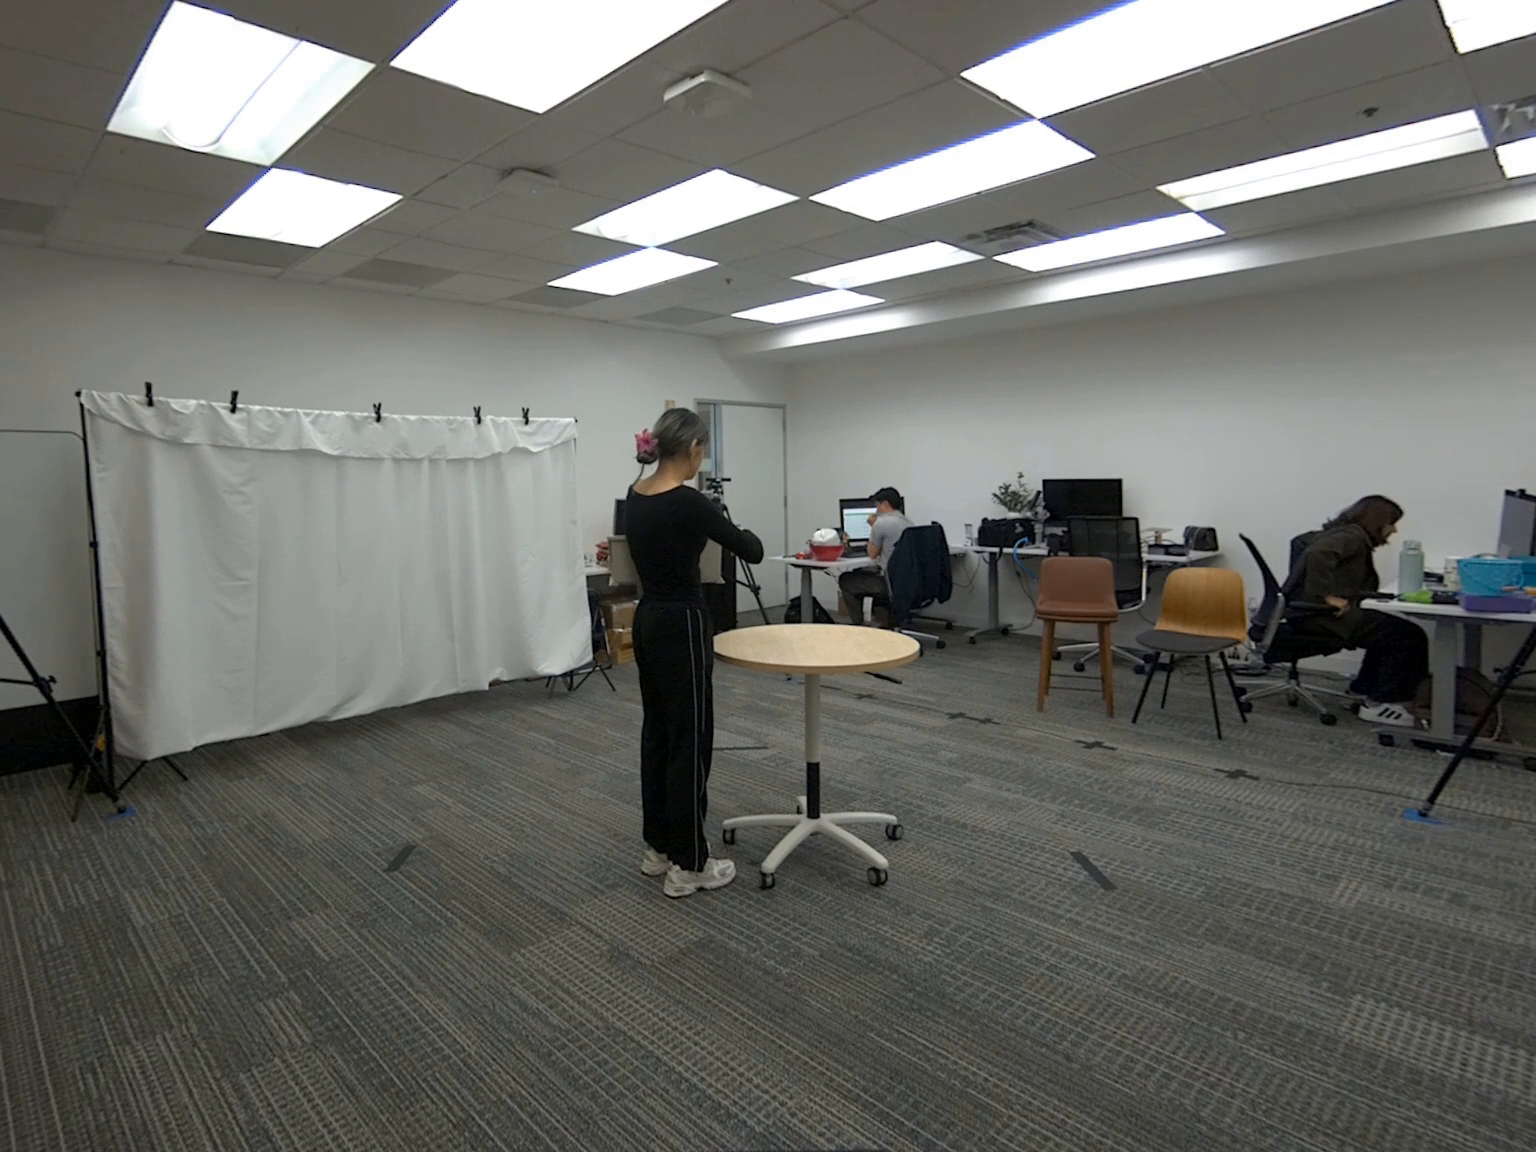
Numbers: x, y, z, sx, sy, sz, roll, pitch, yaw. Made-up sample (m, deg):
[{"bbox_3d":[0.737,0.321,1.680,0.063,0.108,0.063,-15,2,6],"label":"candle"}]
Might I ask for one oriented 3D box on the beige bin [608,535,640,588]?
[{"bbox_3d":[-0.397,-0.072,3.231,0.421,0.188,0.380,-2,6,-3],"label":"beige bin"}]
